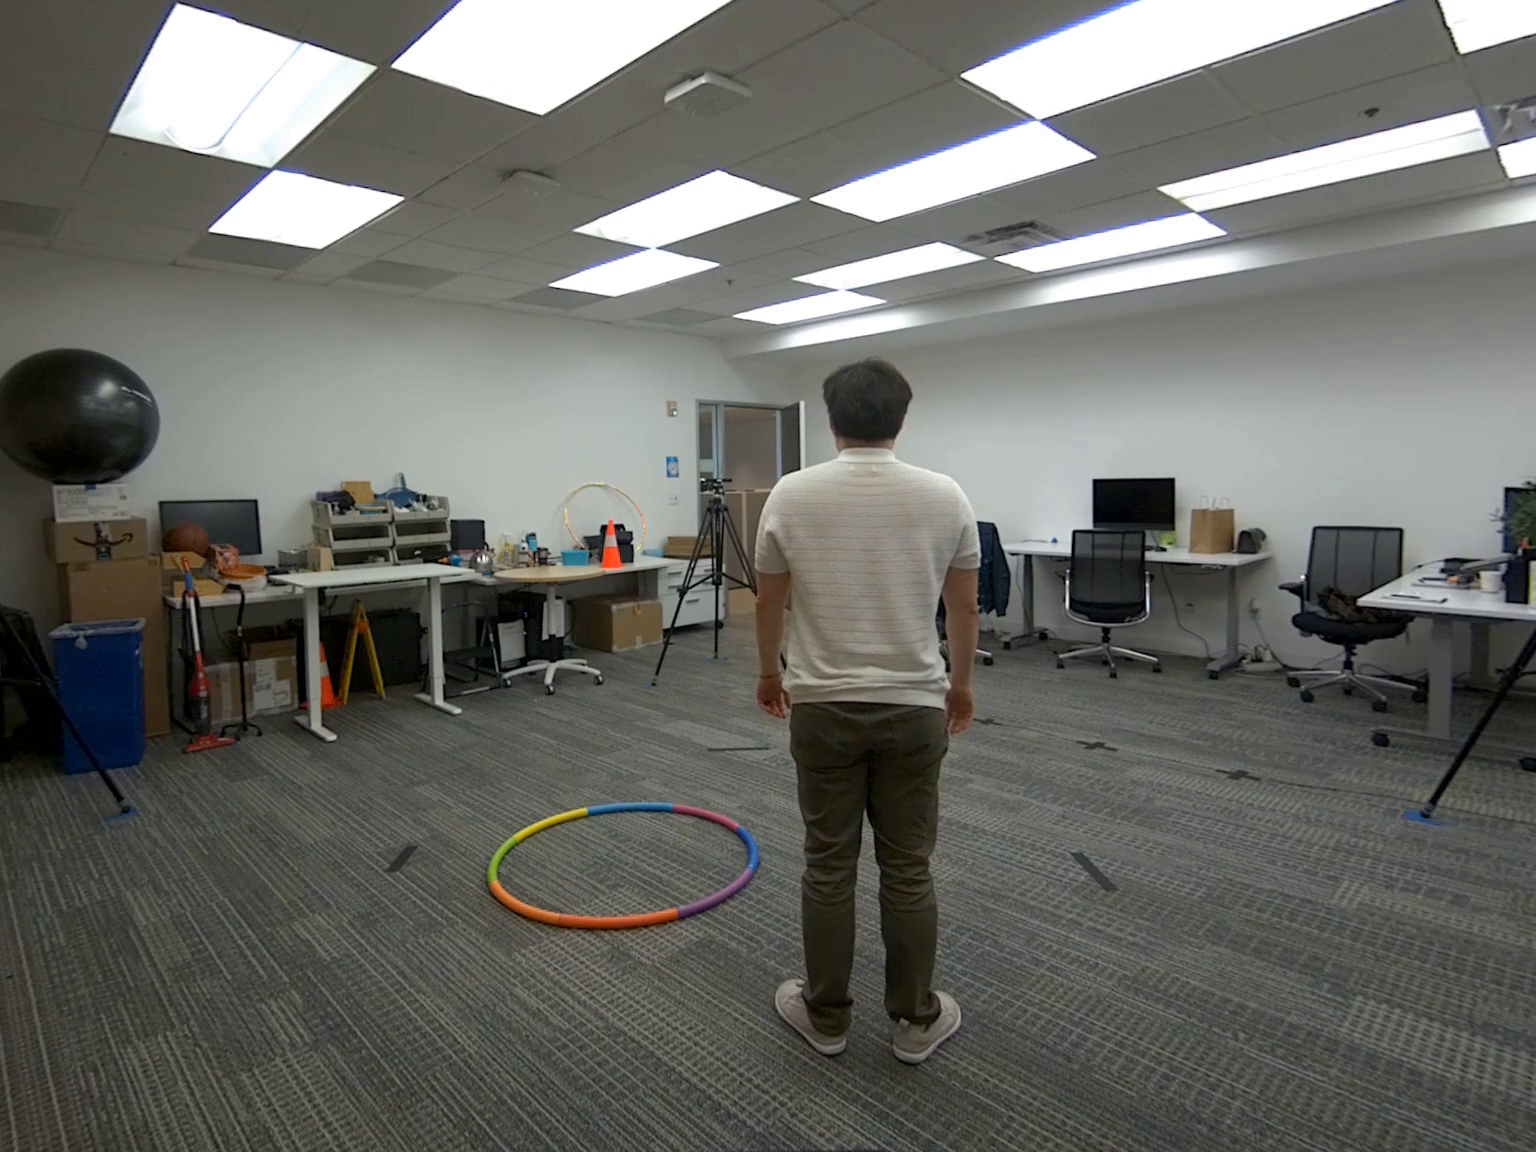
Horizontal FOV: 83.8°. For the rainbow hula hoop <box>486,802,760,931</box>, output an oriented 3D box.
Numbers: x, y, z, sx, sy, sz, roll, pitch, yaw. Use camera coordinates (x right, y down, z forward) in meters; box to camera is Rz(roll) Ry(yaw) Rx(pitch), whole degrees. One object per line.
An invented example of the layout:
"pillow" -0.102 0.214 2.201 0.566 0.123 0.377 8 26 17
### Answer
"rainbow hula hoop" -0.515 1.018 3.148 0.978 0.035 0.984 -1 7 -2
